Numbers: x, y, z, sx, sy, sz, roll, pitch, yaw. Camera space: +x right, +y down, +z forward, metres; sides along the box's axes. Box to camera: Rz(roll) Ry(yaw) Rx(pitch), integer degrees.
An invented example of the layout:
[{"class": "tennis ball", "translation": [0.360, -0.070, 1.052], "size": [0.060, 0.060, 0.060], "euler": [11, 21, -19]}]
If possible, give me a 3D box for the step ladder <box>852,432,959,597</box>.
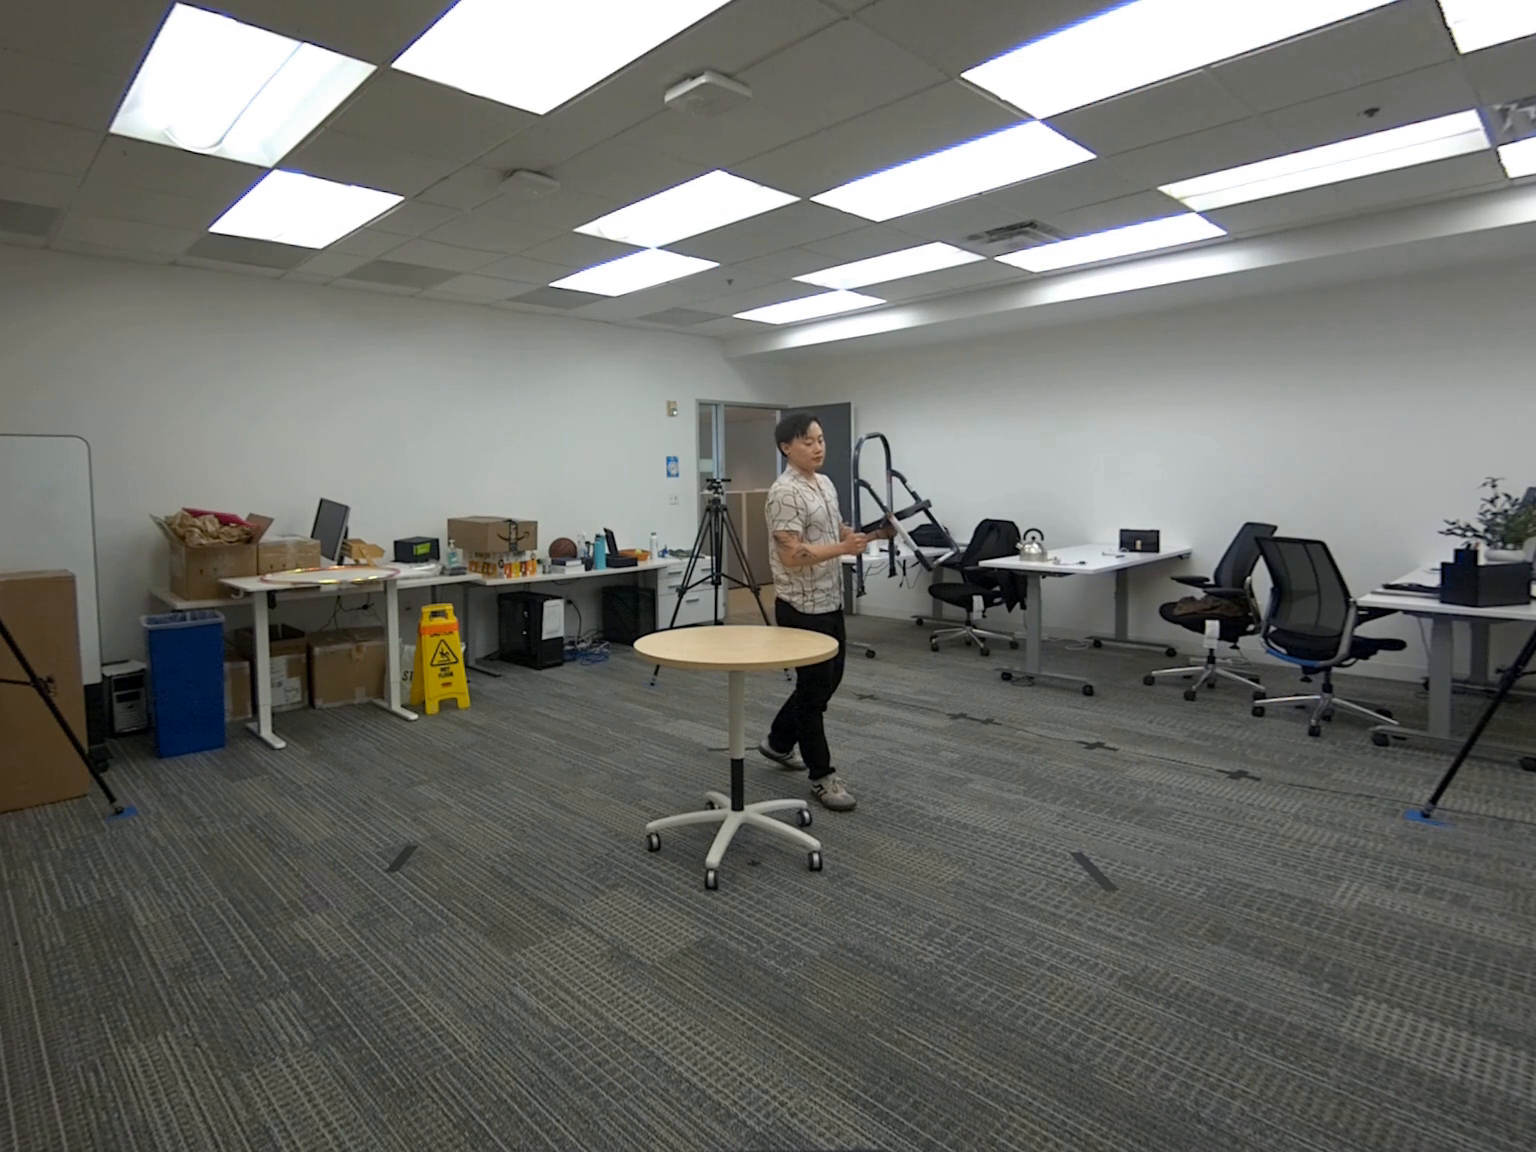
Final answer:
[{"class": "step ladder", "translation": [0.479, -0.288, 3.590], "size": [0.354, 0.607, 0.424], "euler": [-21, -1, 31]}]
